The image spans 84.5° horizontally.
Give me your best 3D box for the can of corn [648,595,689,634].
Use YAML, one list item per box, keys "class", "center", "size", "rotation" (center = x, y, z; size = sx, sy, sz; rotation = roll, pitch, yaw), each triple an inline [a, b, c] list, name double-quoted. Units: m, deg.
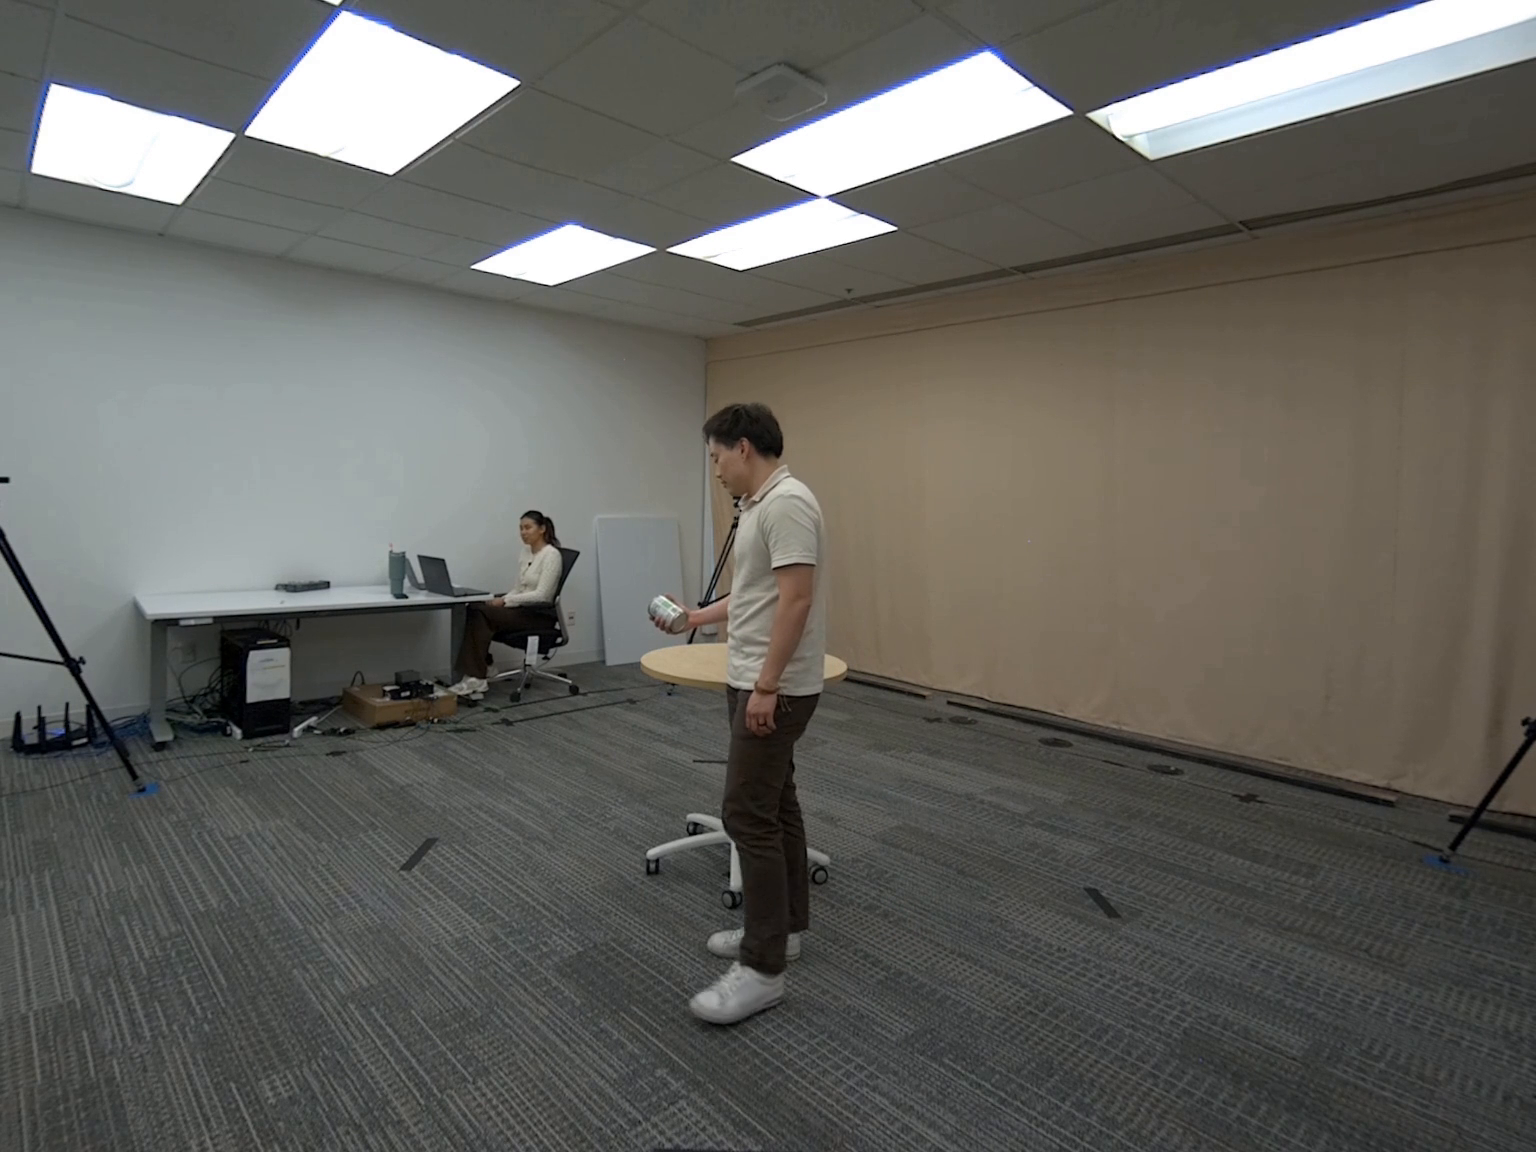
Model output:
- class: "can of corn"
  center: [-0.327, 0.117, 2.702]
  size: [0.114, 0.074, 0.072]
  rotation: [32, 21, 32]
